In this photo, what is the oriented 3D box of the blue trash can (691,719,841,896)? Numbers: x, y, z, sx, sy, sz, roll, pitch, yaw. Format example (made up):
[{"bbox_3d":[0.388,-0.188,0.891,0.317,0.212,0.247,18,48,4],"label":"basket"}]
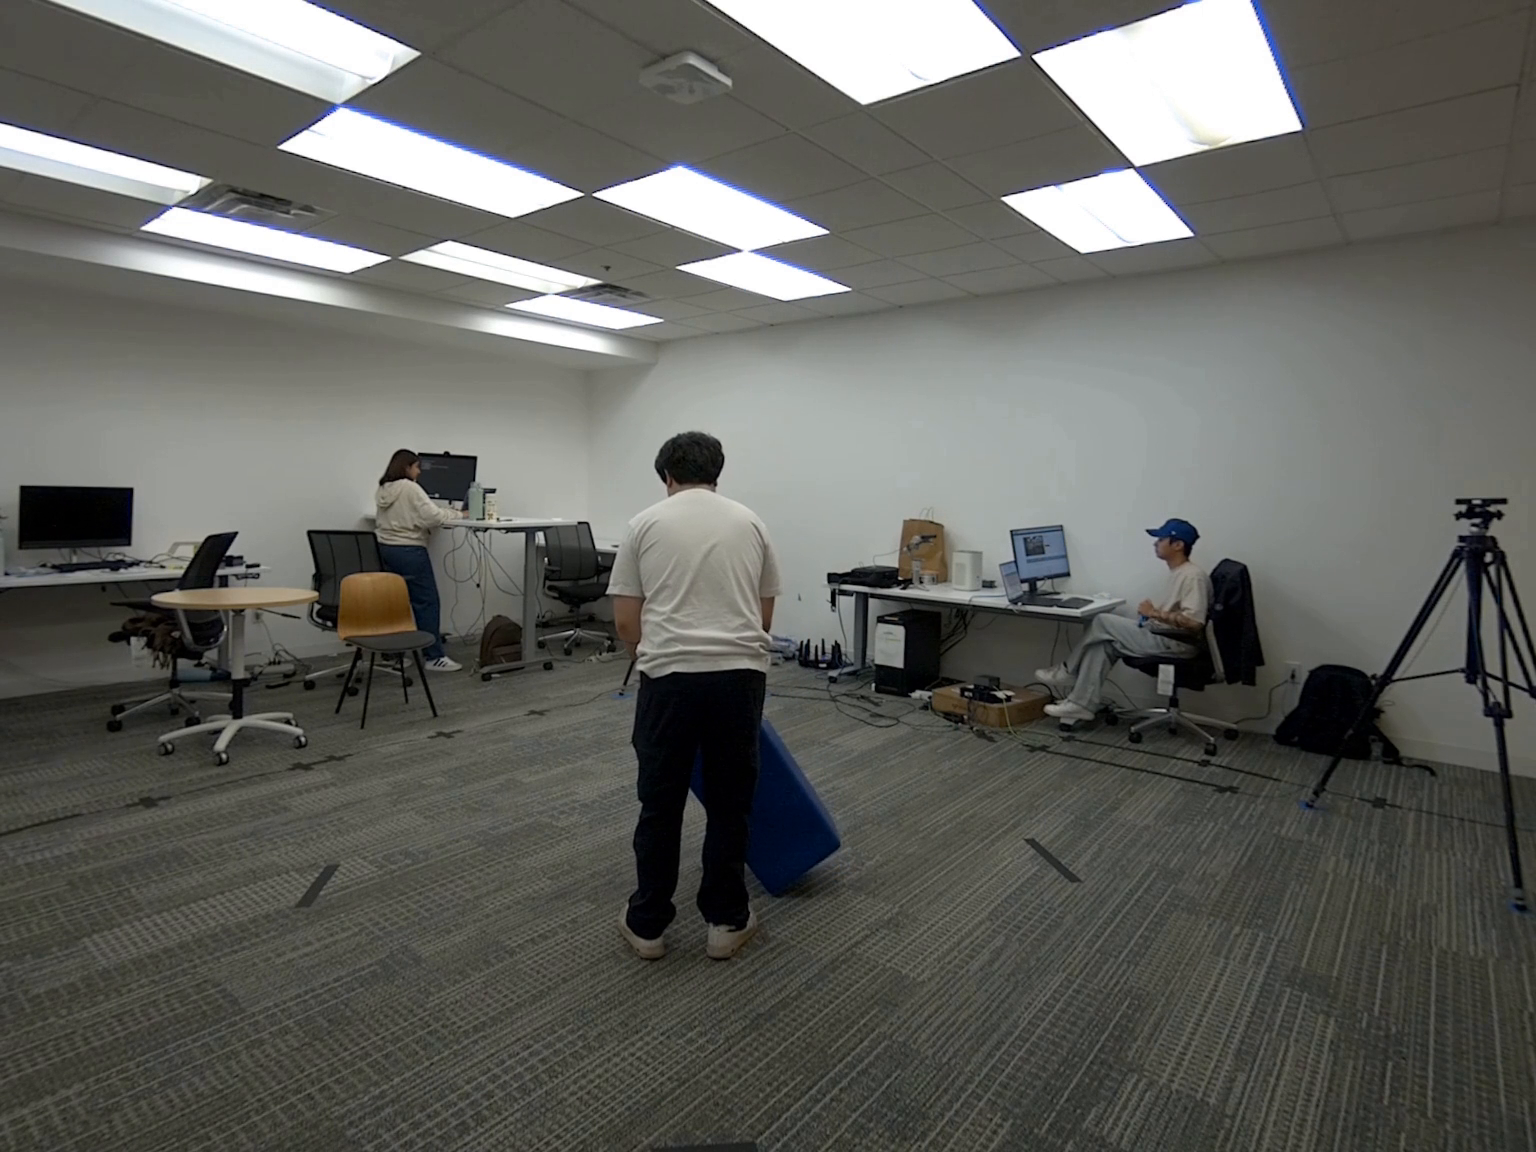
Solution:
[{"bbox_3d":[-0.089,0.703,3.049,0.378,0.712,0.375,-34,2,0],"label":"blue trash can"}]
